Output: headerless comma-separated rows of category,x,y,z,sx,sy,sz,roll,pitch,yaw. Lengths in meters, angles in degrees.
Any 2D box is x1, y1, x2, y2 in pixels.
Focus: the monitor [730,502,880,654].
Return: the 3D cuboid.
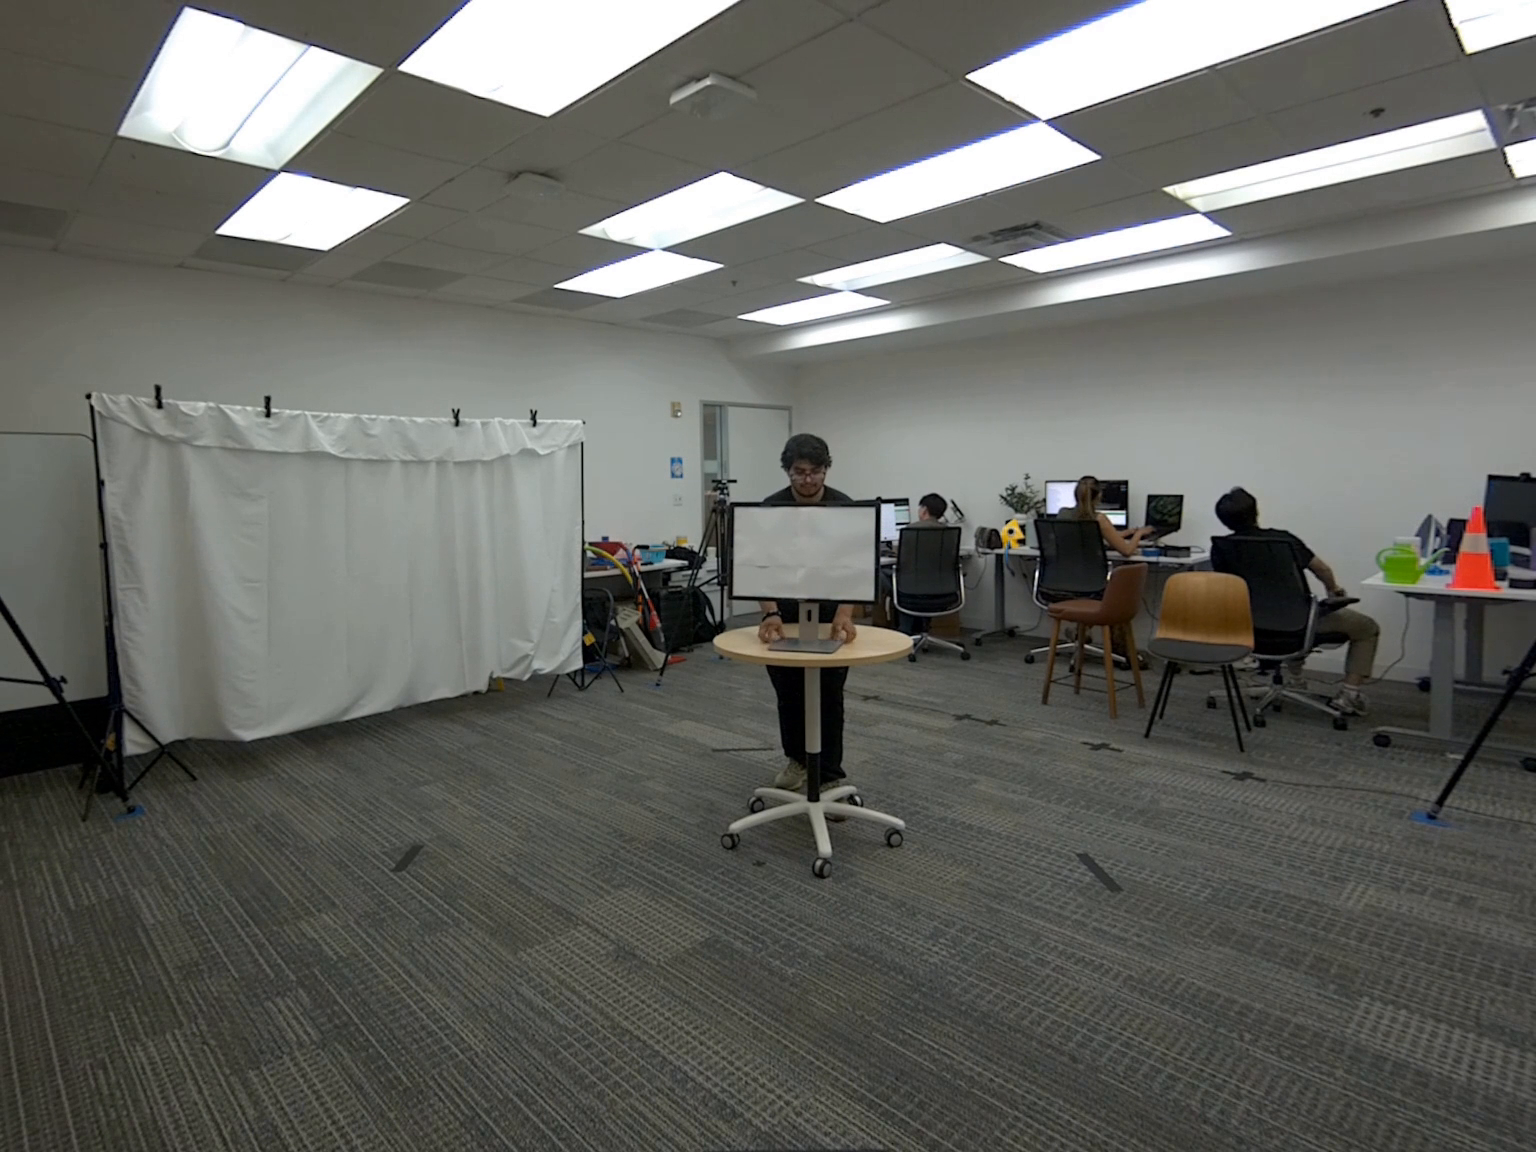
monitor,0.146,0.000,3.154,0.575,0.553,0.207,1,2,18
